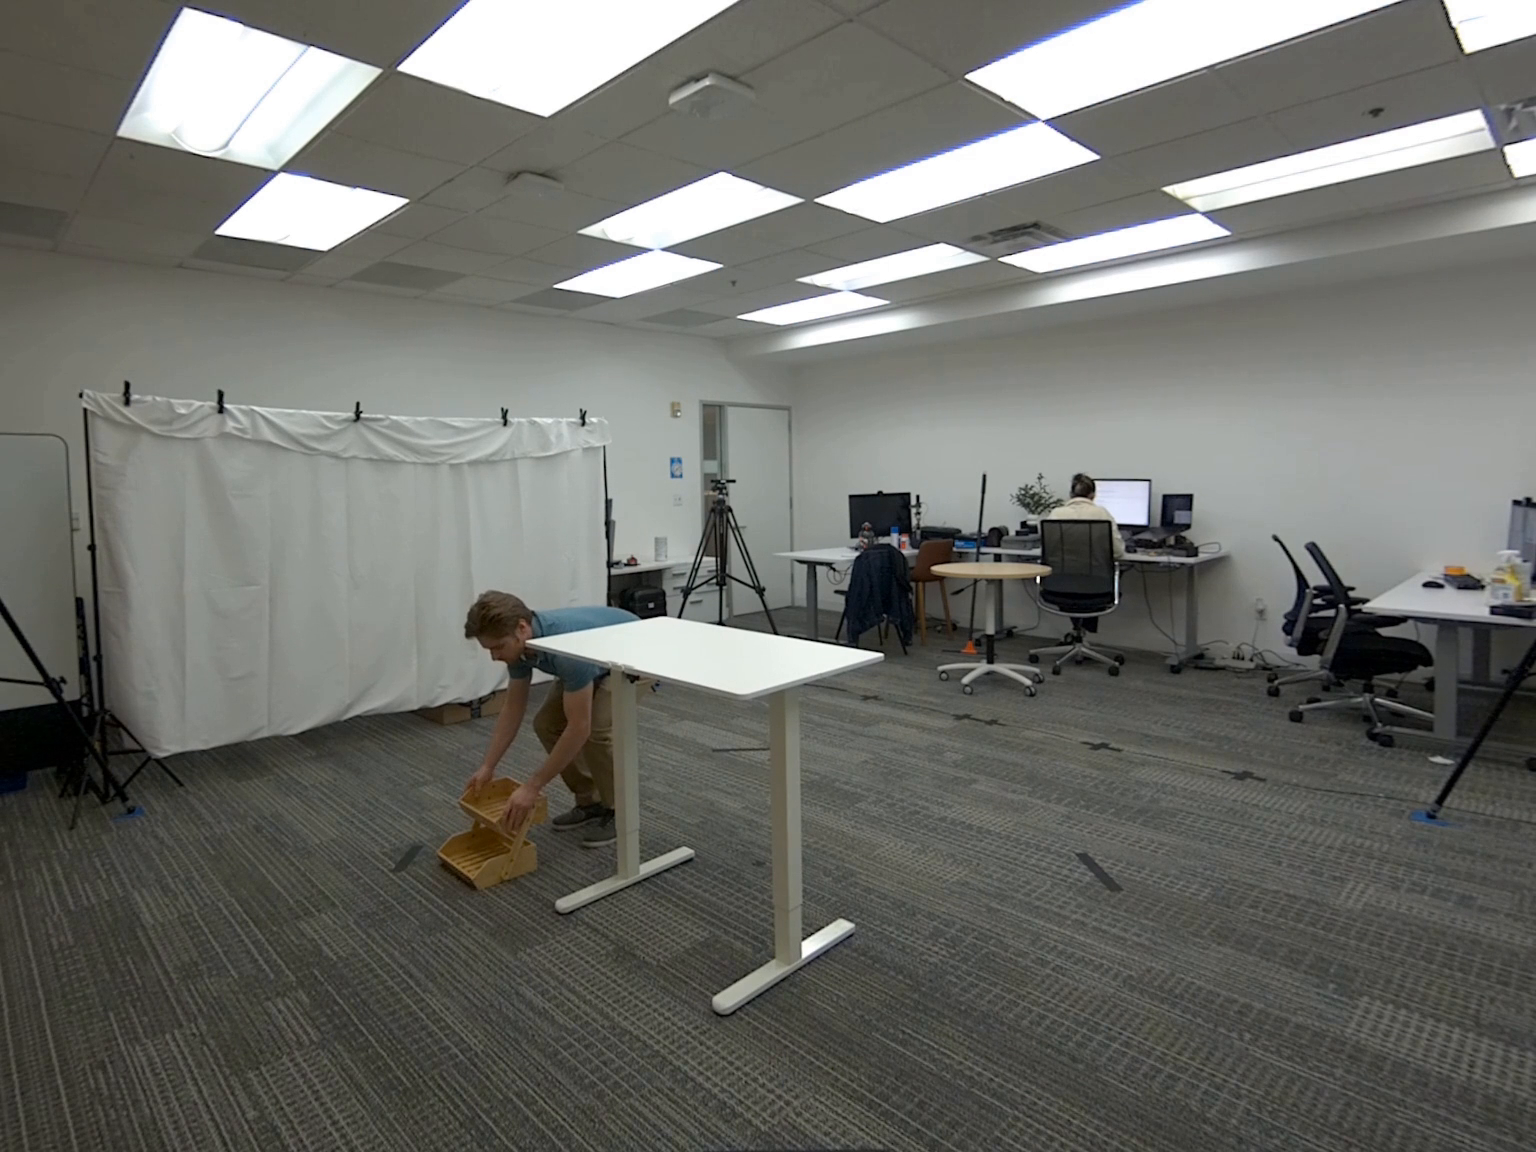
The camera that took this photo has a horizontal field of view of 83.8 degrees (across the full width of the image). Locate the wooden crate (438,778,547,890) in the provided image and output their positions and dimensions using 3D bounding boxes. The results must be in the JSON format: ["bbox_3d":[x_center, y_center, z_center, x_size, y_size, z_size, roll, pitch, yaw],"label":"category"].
[{"bbox_3d":[-1.017,0.929,3.141,0.294,0.272,0.334,-5,7,-43],"label":"wooden crate"}]
